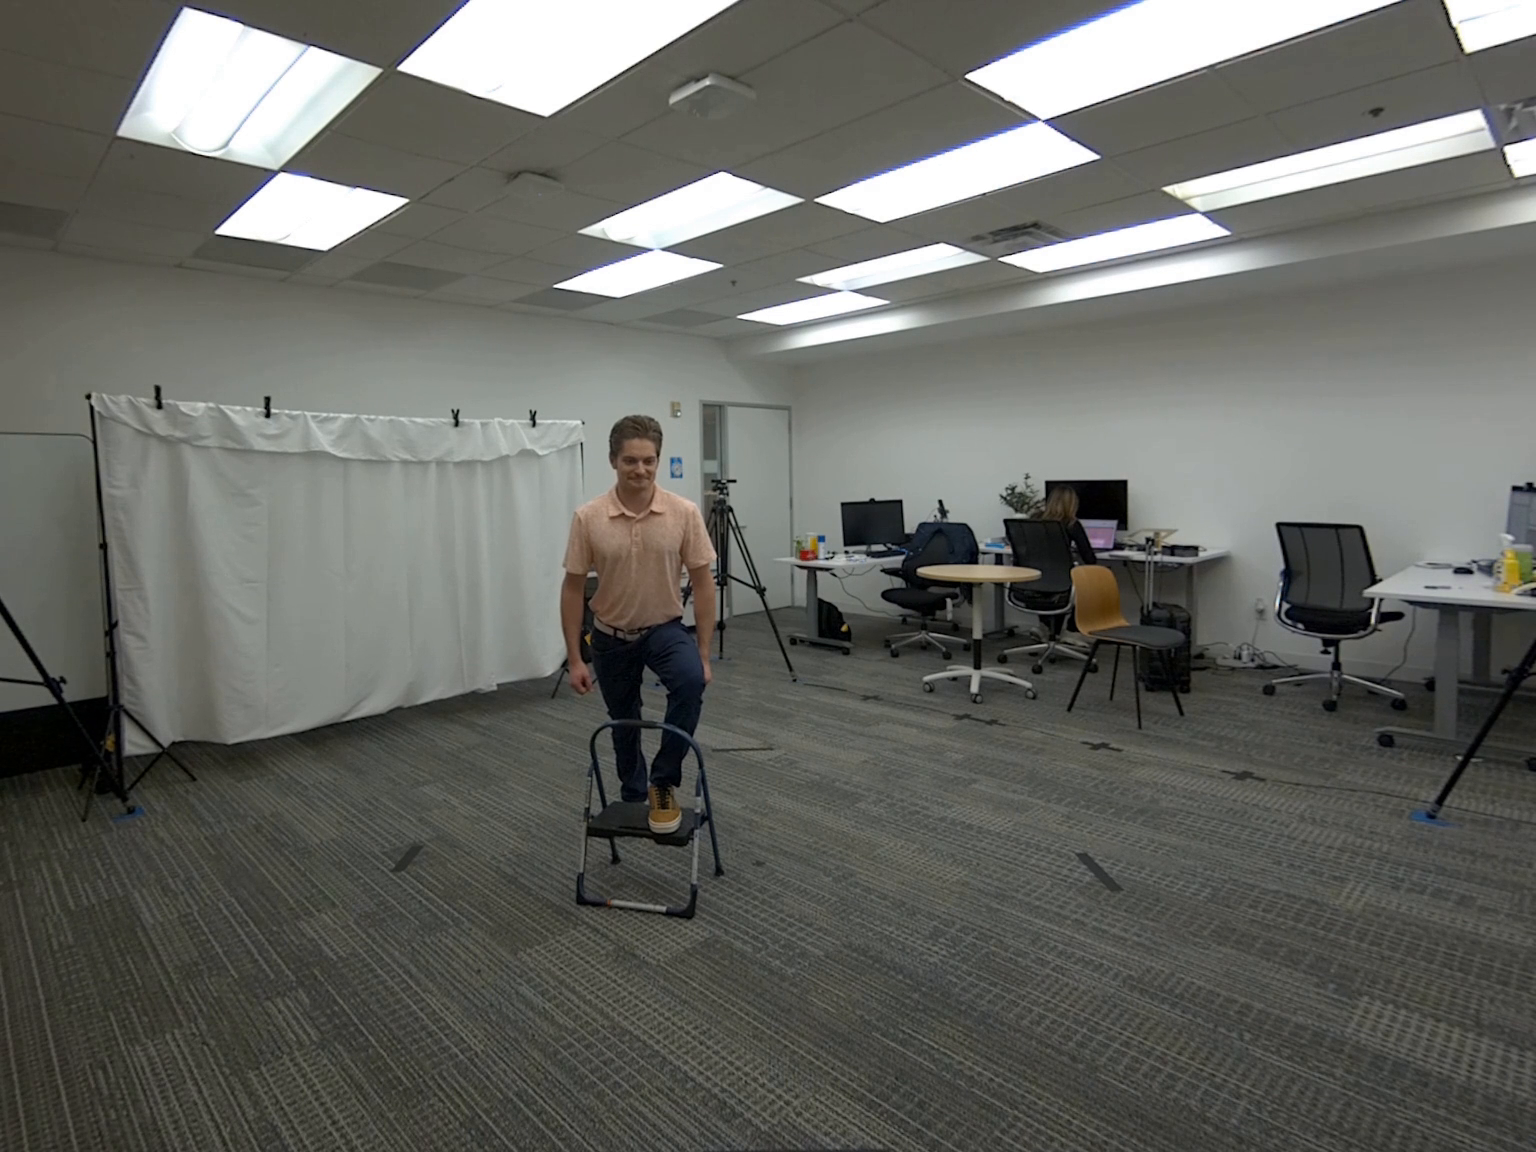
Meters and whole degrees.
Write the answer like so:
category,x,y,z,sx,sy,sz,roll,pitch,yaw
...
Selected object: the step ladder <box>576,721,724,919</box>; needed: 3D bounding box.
category,x,y,z,sx,sy,sz,roll,pitch,yaw
step ladder,-0.404,0.773,2.920,0.437,0.604,0.346,0,4,14
